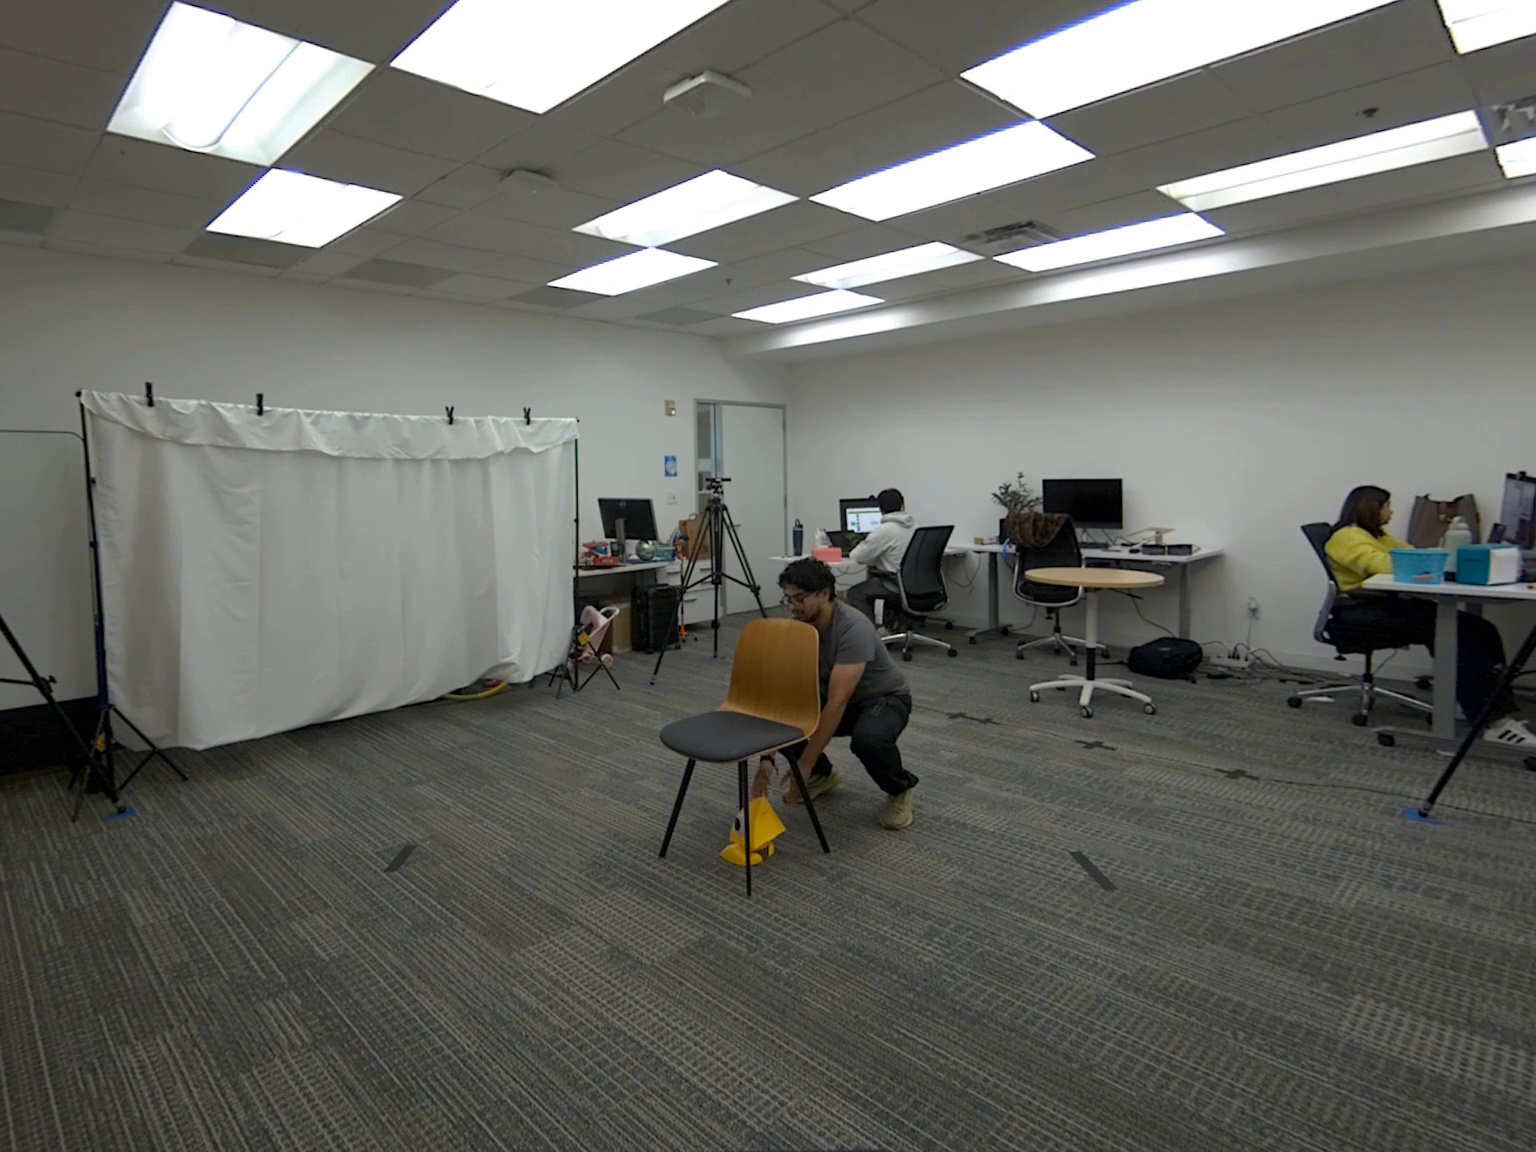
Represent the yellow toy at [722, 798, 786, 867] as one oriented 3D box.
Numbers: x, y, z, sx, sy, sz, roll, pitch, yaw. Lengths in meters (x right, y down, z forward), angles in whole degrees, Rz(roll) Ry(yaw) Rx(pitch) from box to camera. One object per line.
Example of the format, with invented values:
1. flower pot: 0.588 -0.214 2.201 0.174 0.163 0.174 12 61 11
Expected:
1. yellow toy: -0.060 0.923 3.172 0.199 0.230 0.200 4 7 36
